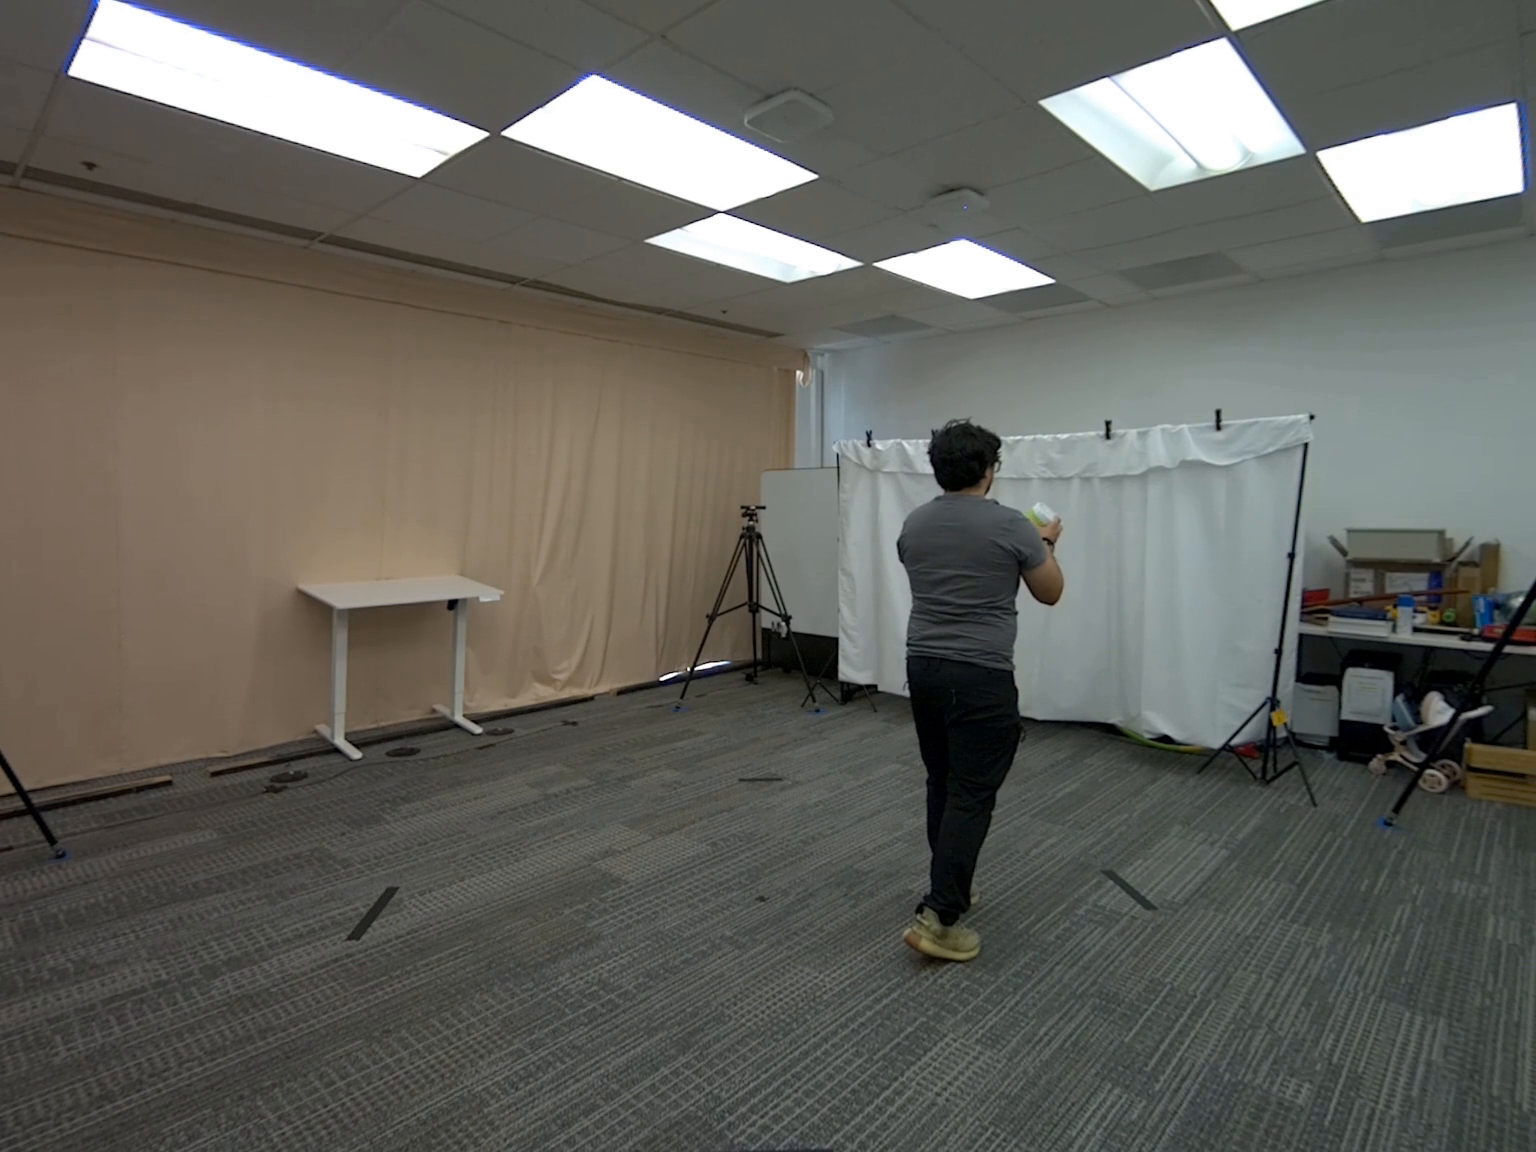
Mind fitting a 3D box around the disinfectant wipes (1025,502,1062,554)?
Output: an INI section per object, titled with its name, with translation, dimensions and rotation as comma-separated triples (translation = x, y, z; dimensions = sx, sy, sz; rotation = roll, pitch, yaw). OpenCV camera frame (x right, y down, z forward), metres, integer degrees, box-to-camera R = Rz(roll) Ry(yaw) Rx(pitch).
[disinfectant wipes]
translation = 0.941, -0.155, 3.030
dimensions = 0.115, 0.218, 0.120
rotation = 24, 35, -20
